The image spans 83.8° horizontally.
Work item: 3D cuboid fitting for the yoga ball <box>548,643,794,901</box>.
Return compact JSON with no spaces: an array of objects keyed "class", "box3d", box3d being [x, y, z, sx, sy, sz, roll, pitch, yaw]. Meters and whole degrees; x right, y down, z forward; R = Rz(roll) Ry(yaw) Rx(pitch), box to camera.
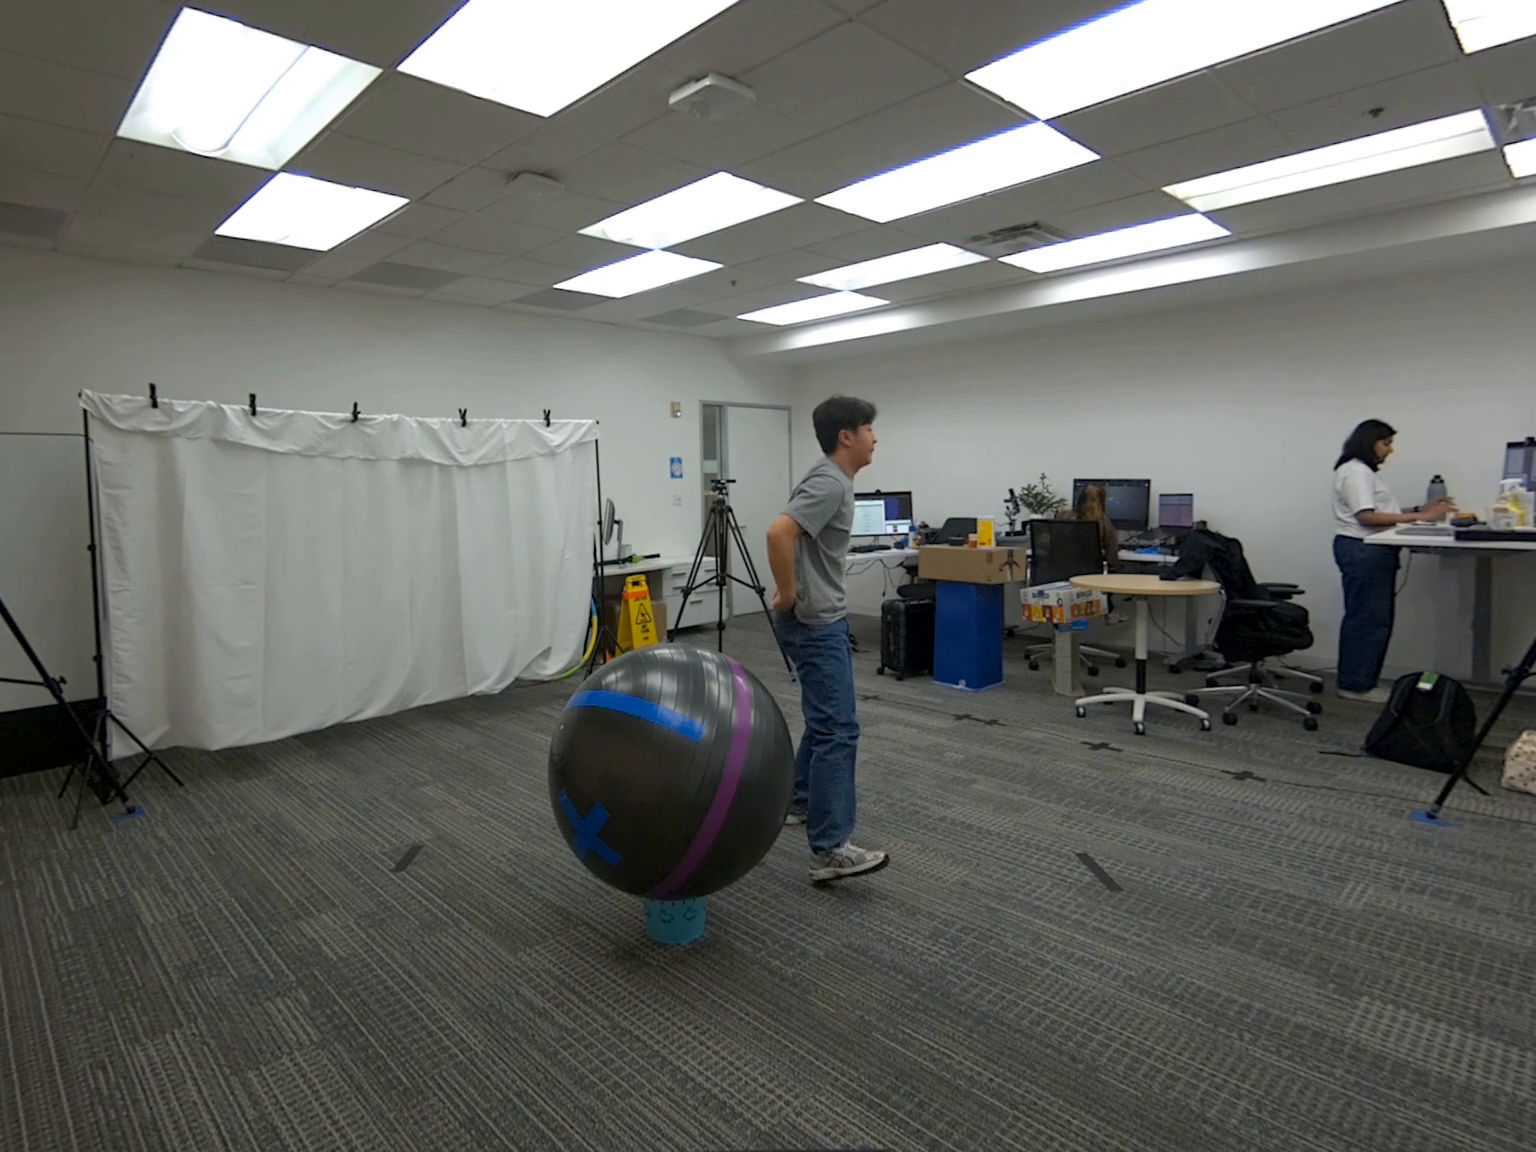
[{"class":"yoga ball","box3d":[-0.288,0.594,2.635,0.757,0.755,0.762,-1,5,-2]}]
